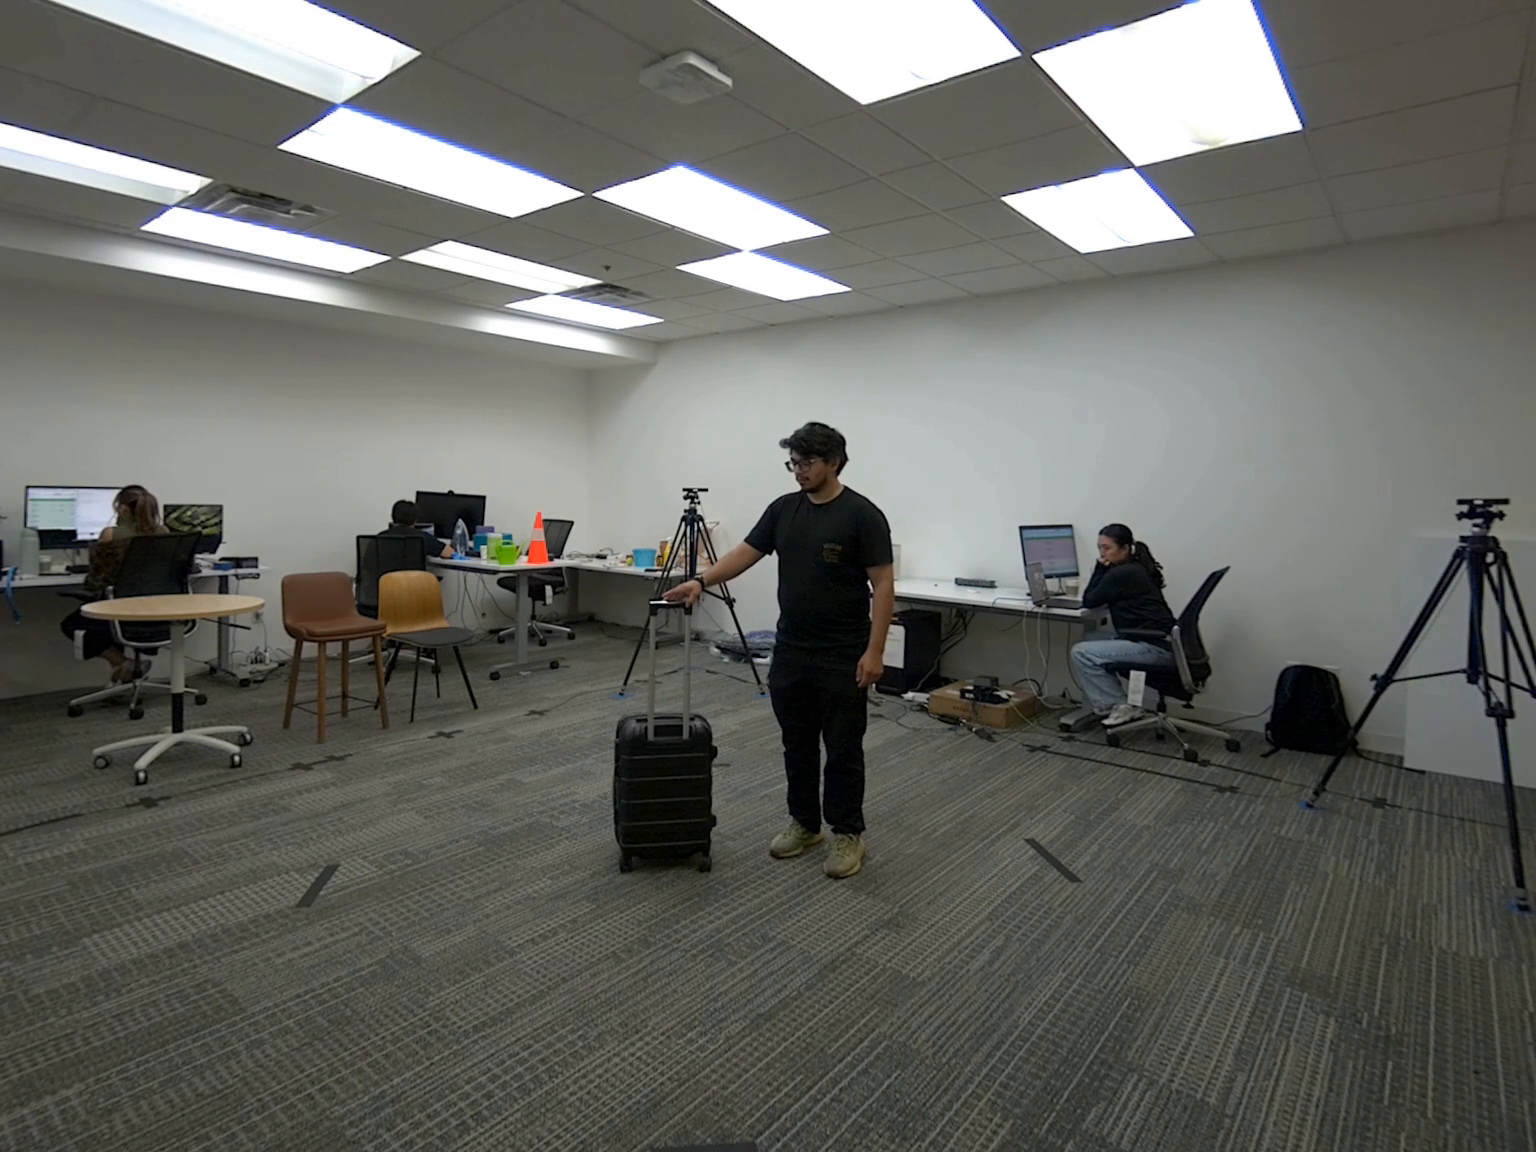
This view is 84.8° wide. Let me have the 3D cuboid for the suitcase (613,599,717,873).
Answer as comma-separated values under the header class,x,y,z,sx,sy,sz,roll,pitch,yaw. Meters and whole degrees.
class,x,y,z,sx,sy,sz,roll,pitch,yaw
suitcase,-0.402,0.587,3.178,0.379,0.977,0.260,1,2,-11
